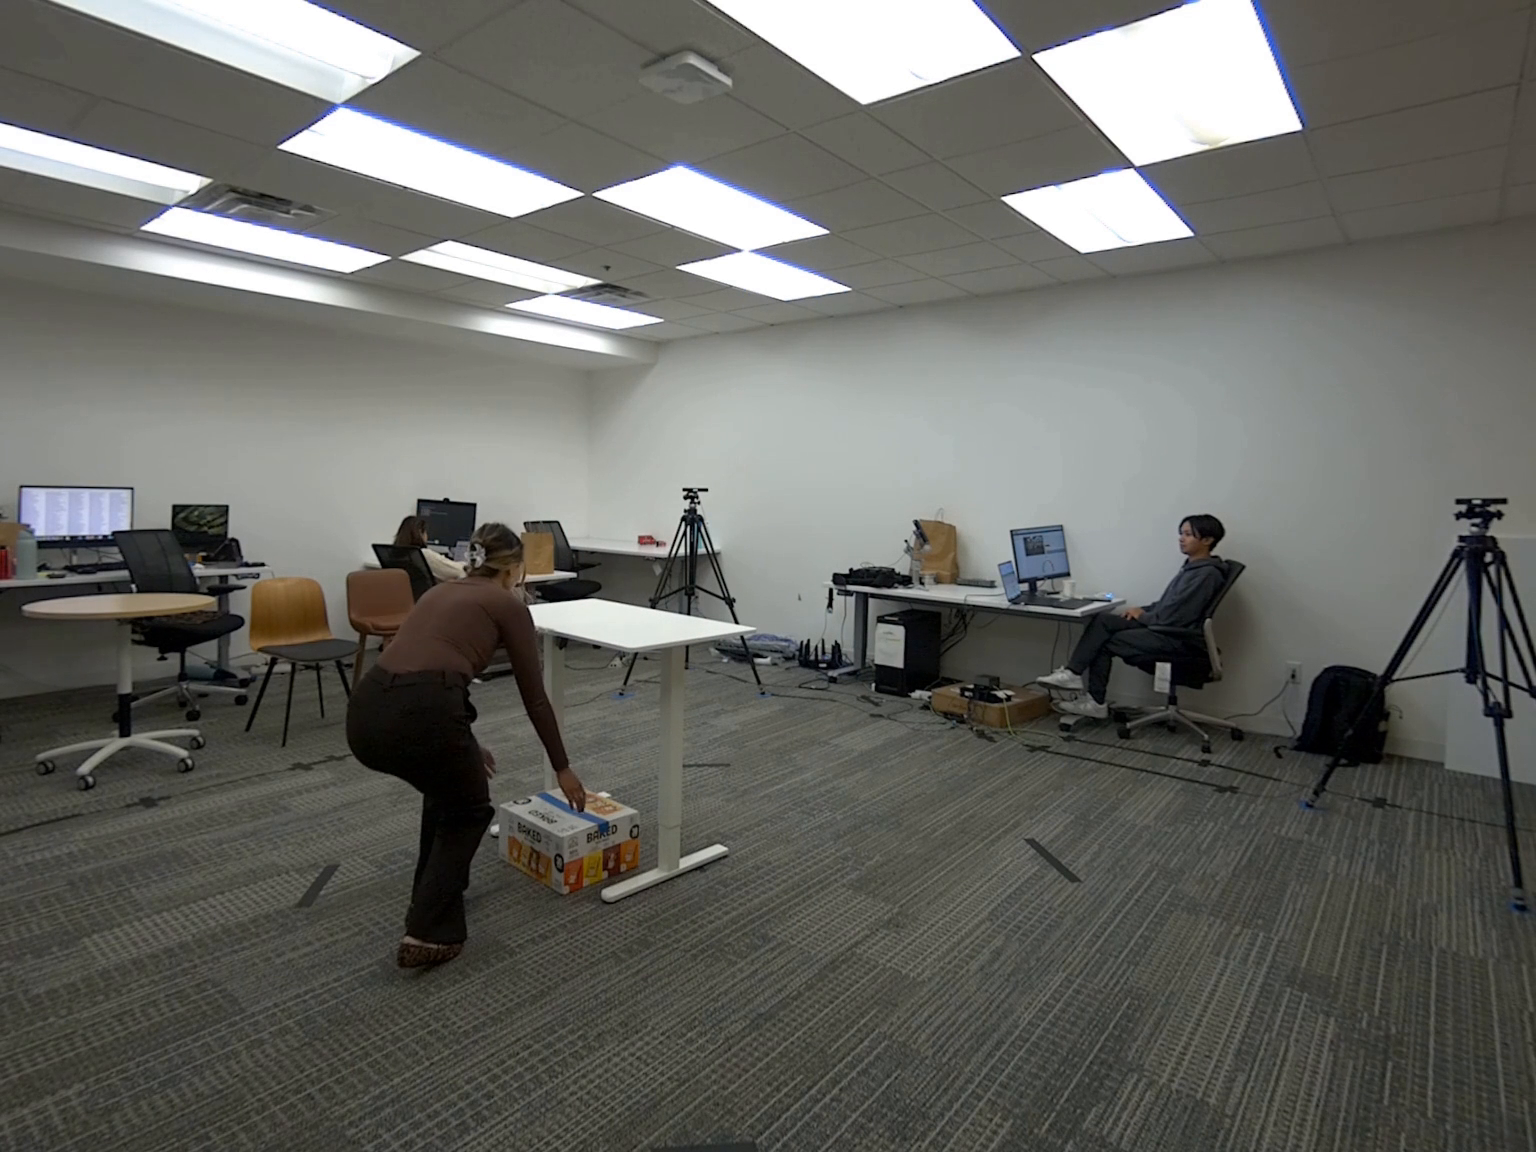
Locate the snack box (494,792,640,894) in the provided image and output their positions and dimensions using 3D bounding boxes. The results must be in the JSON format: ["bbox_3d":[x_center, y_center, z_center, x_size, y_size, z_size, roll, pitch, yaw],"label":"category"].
[{"bbox_3d":[-0.750,0.958,3.135,0.419,0.205,0.330,5,6,42],"label":"snack box"}]
